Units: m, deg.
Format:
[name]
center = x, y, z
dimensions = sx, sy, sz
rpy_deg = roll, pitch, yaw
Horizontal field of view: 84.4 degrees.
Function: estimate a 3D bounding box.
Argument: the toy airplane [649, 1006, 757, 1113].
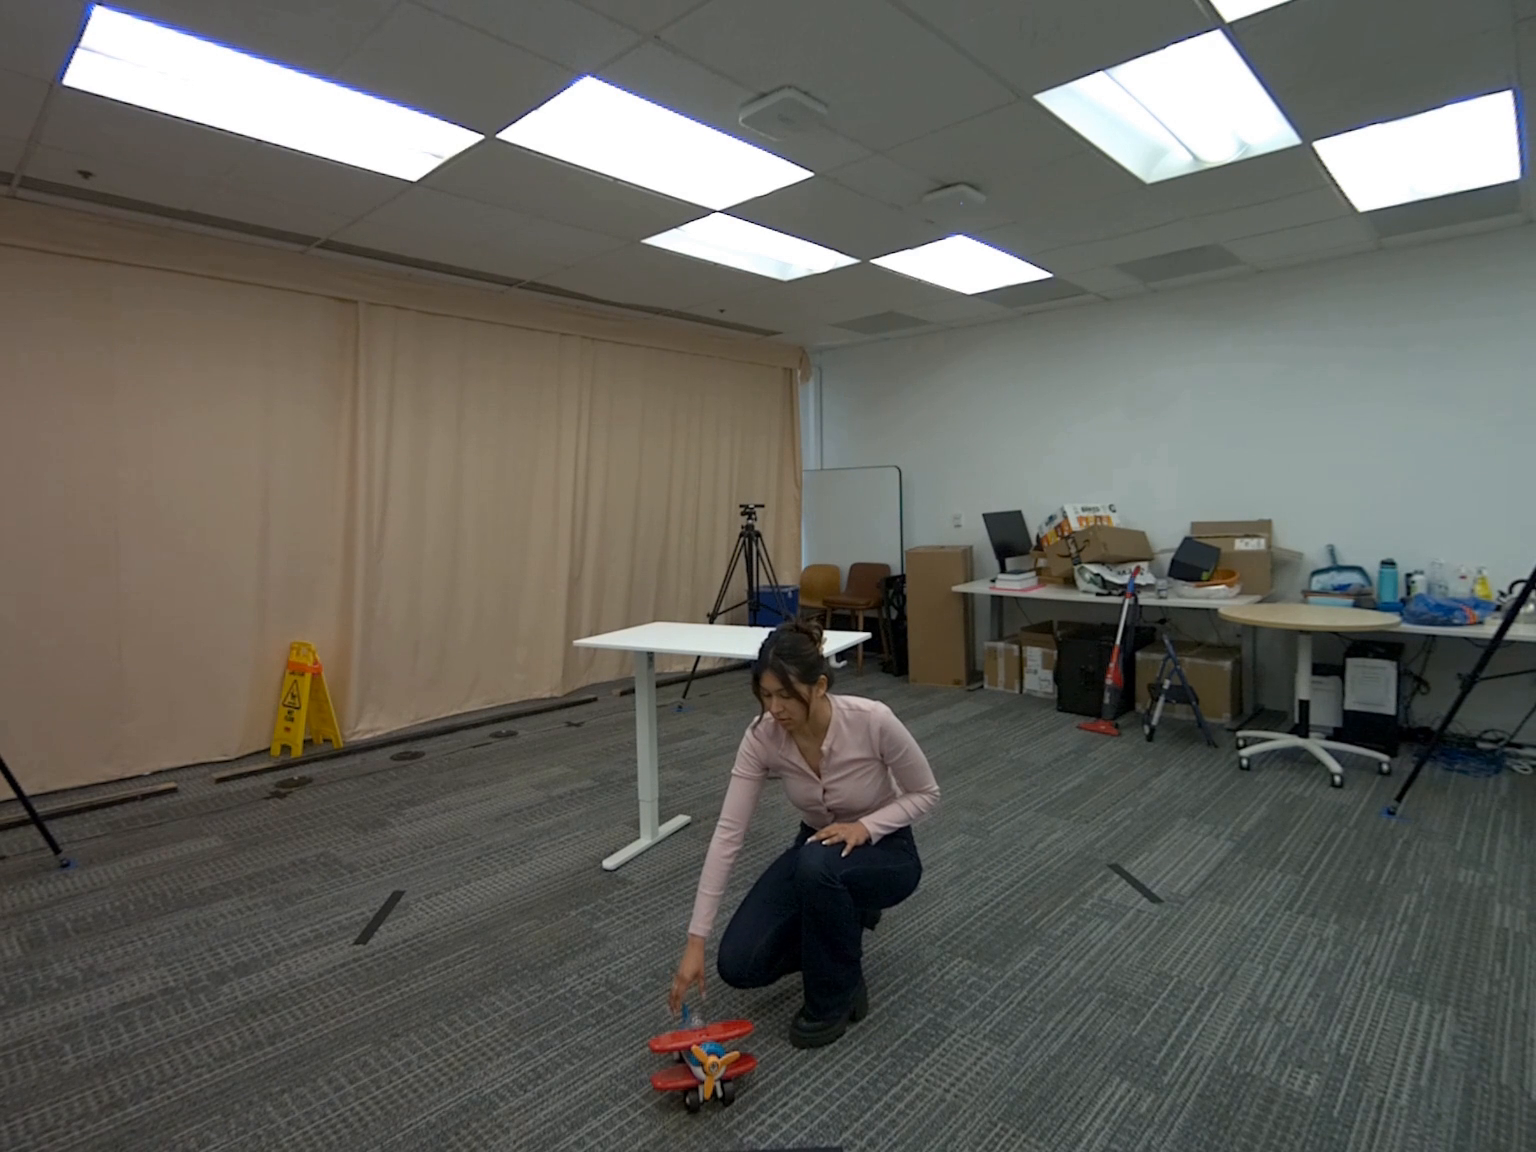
[toy airplane]
center = -0.179, 1.155, 2.022
dimensions = 0.268, 0.156, 0.243
rpy_deg = 5, 7, 42
